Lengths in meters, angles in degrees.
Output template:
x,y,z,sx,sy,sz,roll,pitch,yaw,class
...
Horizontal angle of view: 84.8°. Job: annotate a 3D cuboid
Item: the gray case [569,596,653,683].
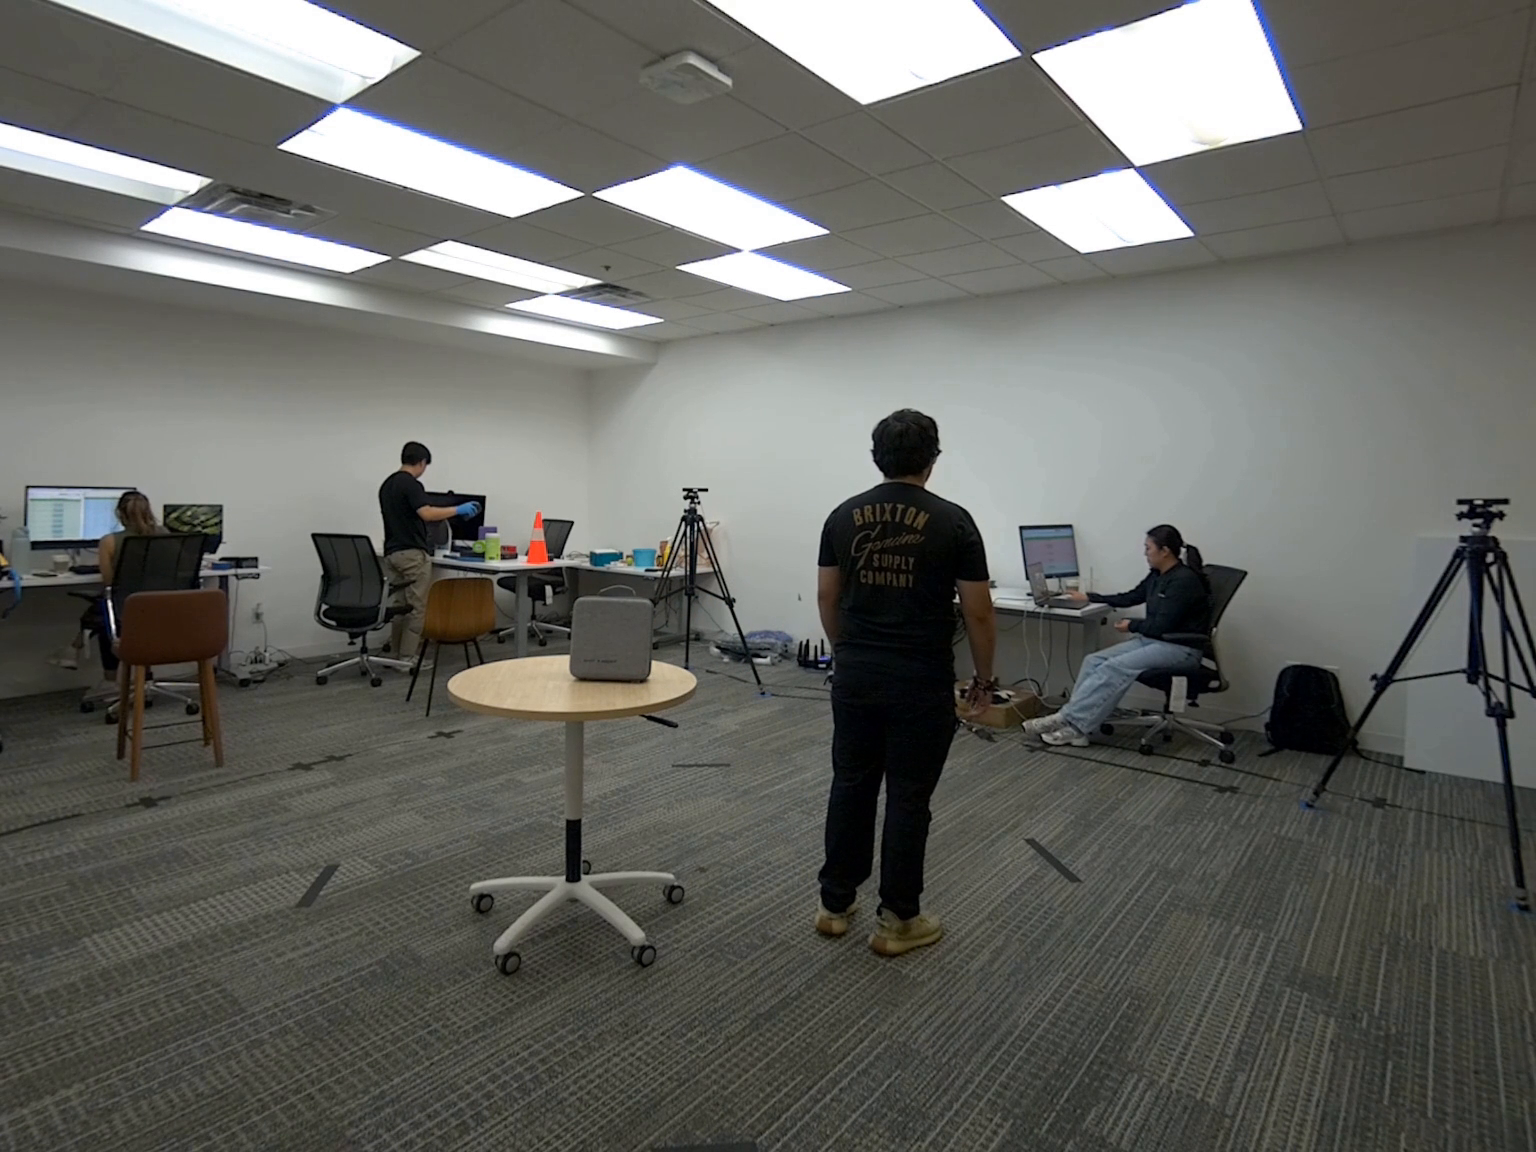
x,y,z,sx,sy,sz,roll,pitch,yaw,class
-0.515,0.180,2.714,0.257,0.263,0.103,-2,-8,-1,gray case
